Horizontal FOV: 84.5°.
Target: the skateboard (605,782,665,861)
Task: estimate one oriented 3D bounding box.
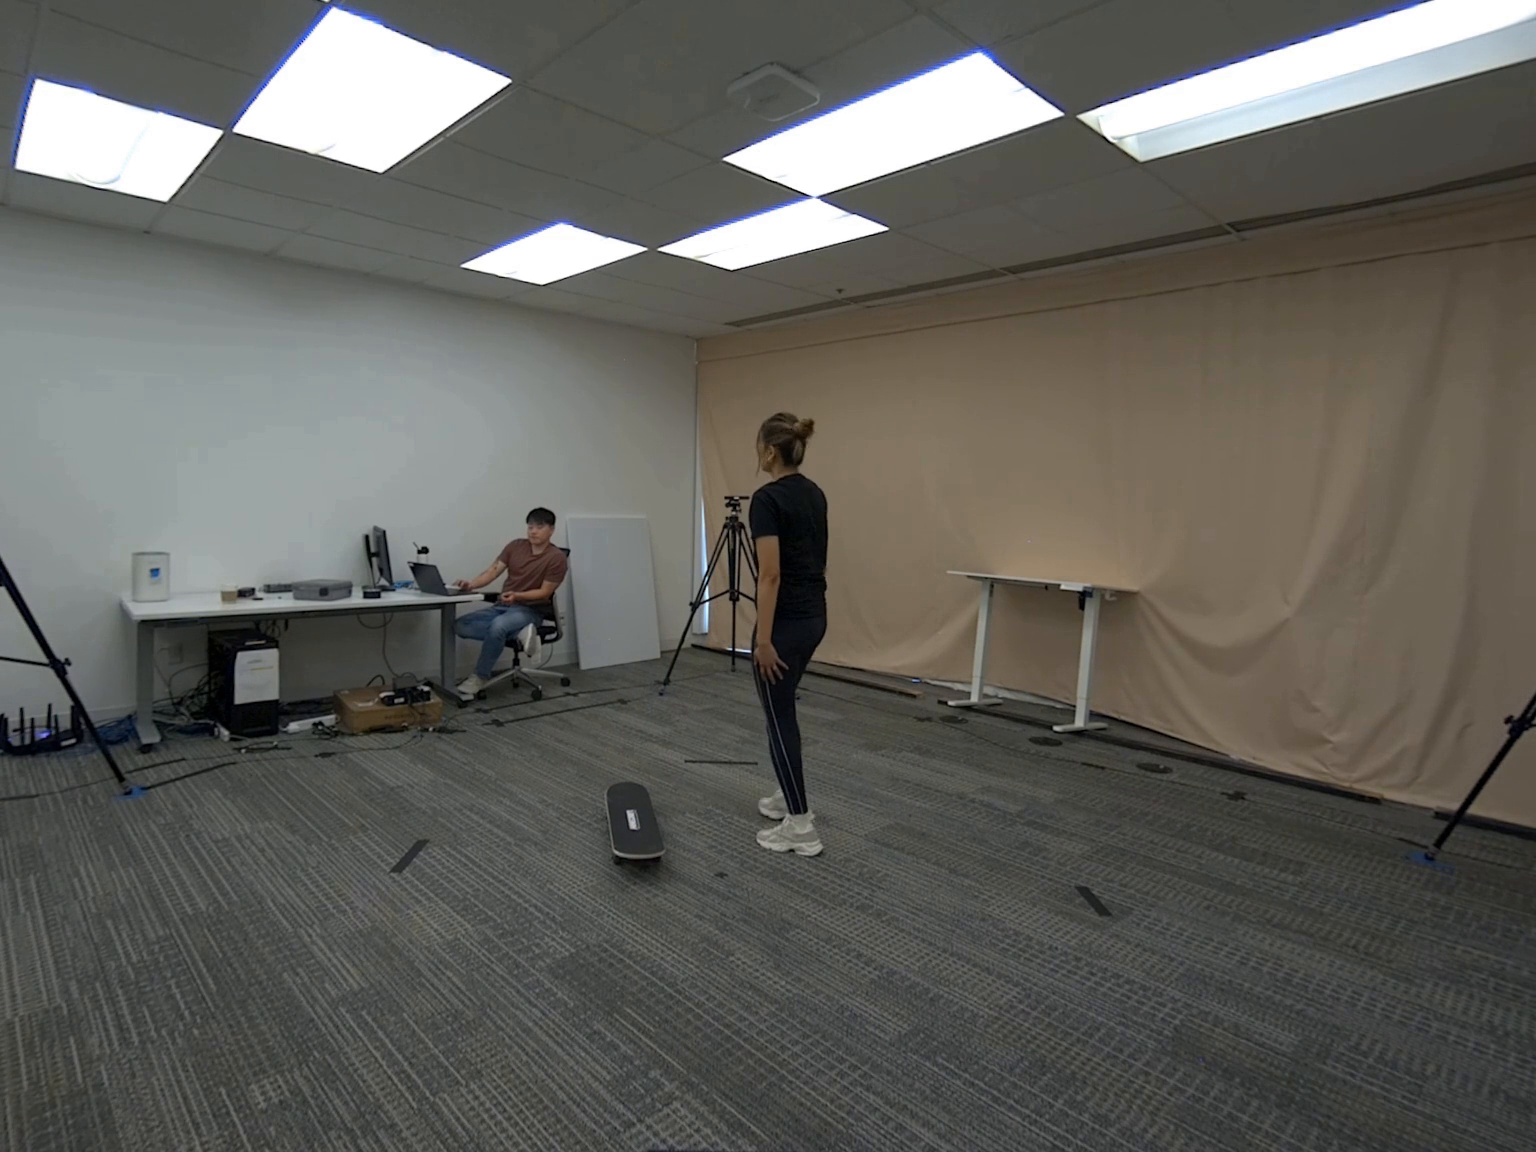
[{"bbox_3d":[-0.552,1.012,3.387,0.191,0.110,0.795,1,5,-14],"label":"skateboard"}]
